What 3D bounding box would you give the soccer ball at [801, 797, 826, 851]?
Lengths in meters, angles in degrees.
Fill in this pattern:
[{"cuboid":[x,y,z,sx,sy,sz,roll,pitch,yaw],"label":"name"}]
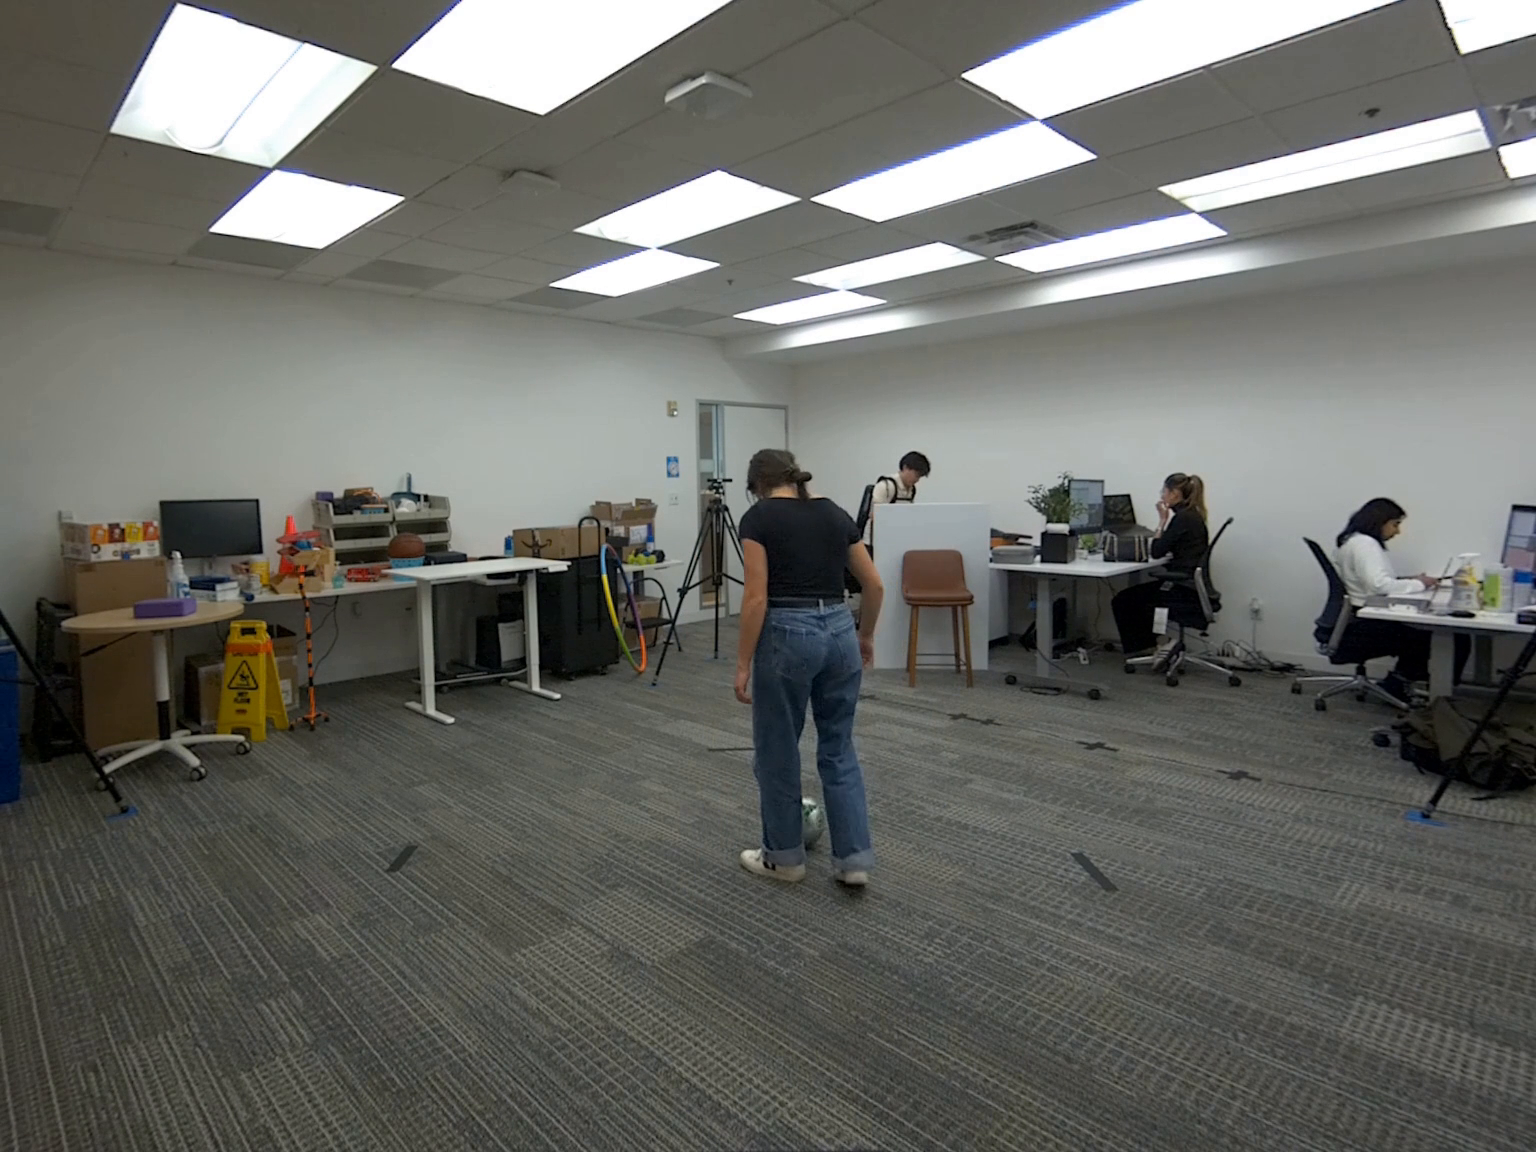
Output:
[{"cuboid":[0.129,0.934,3.248,0.187,0.187,0.188,-1,5,-2],"label":"soccer ball"}]
